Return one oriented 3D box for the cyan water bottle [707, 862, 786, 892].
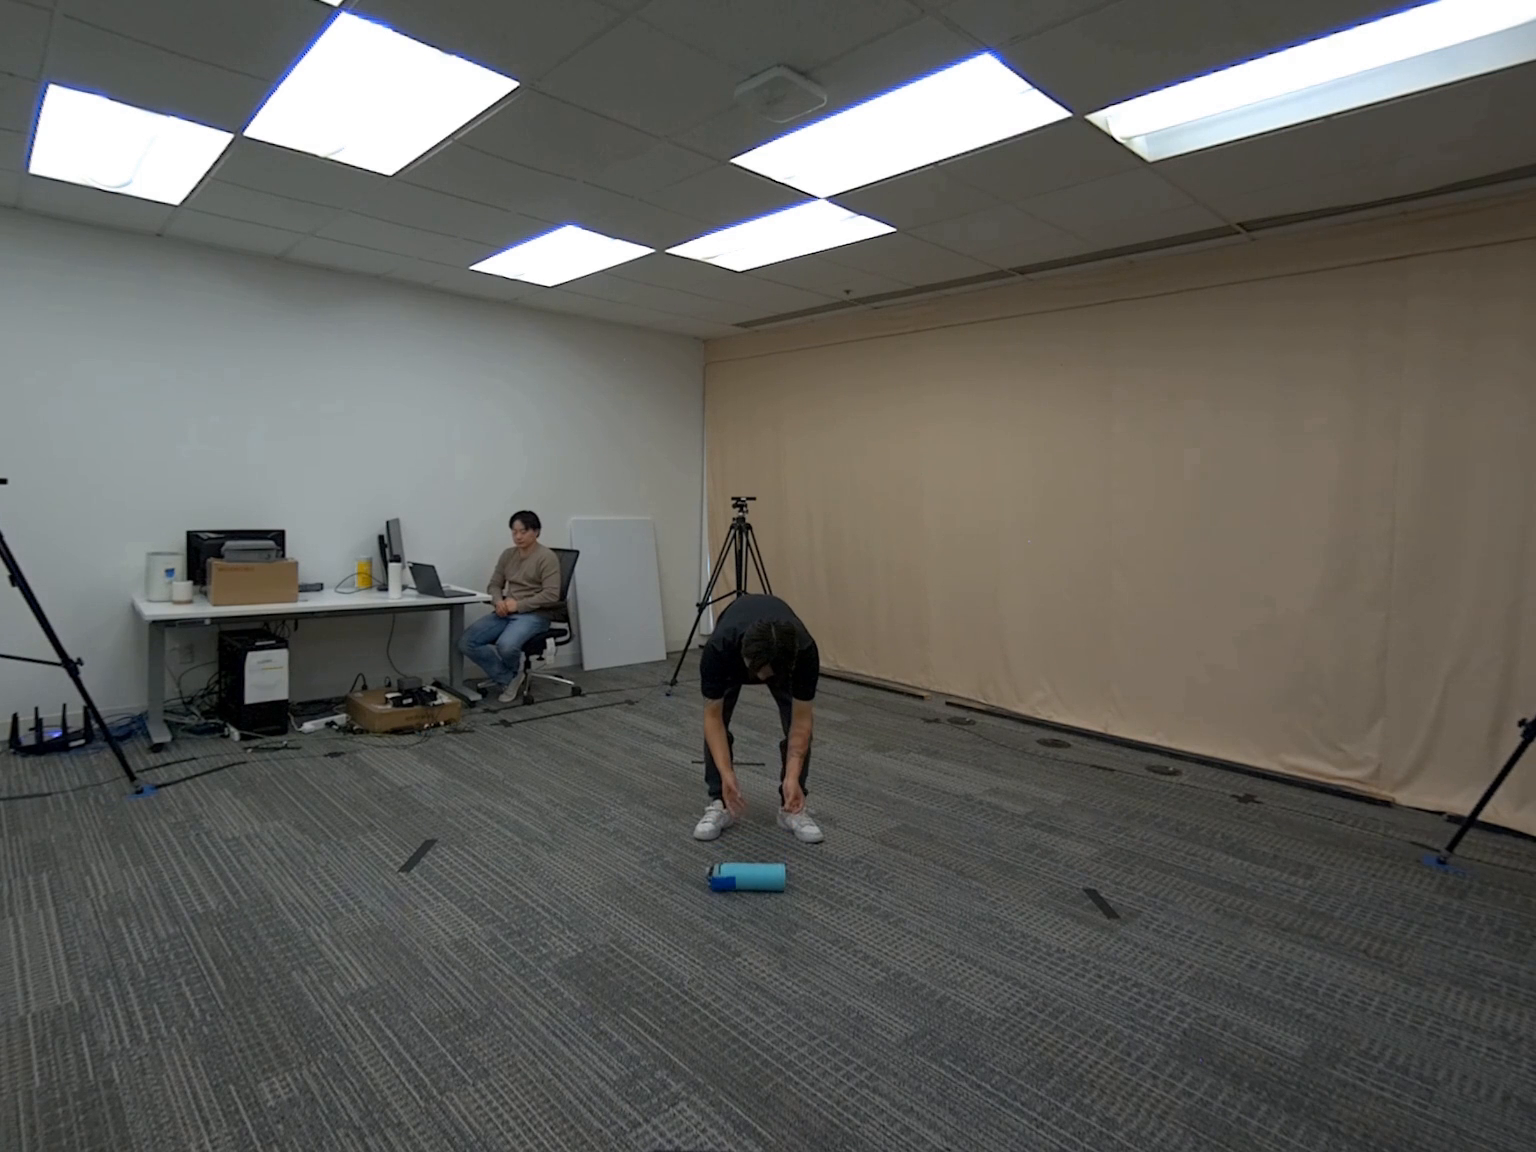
[{"bbox_3d":[-0.084,1.070,2.999,0.283,0.092,0.092,-1,4,1],"label":"cyan water bottle"}]
